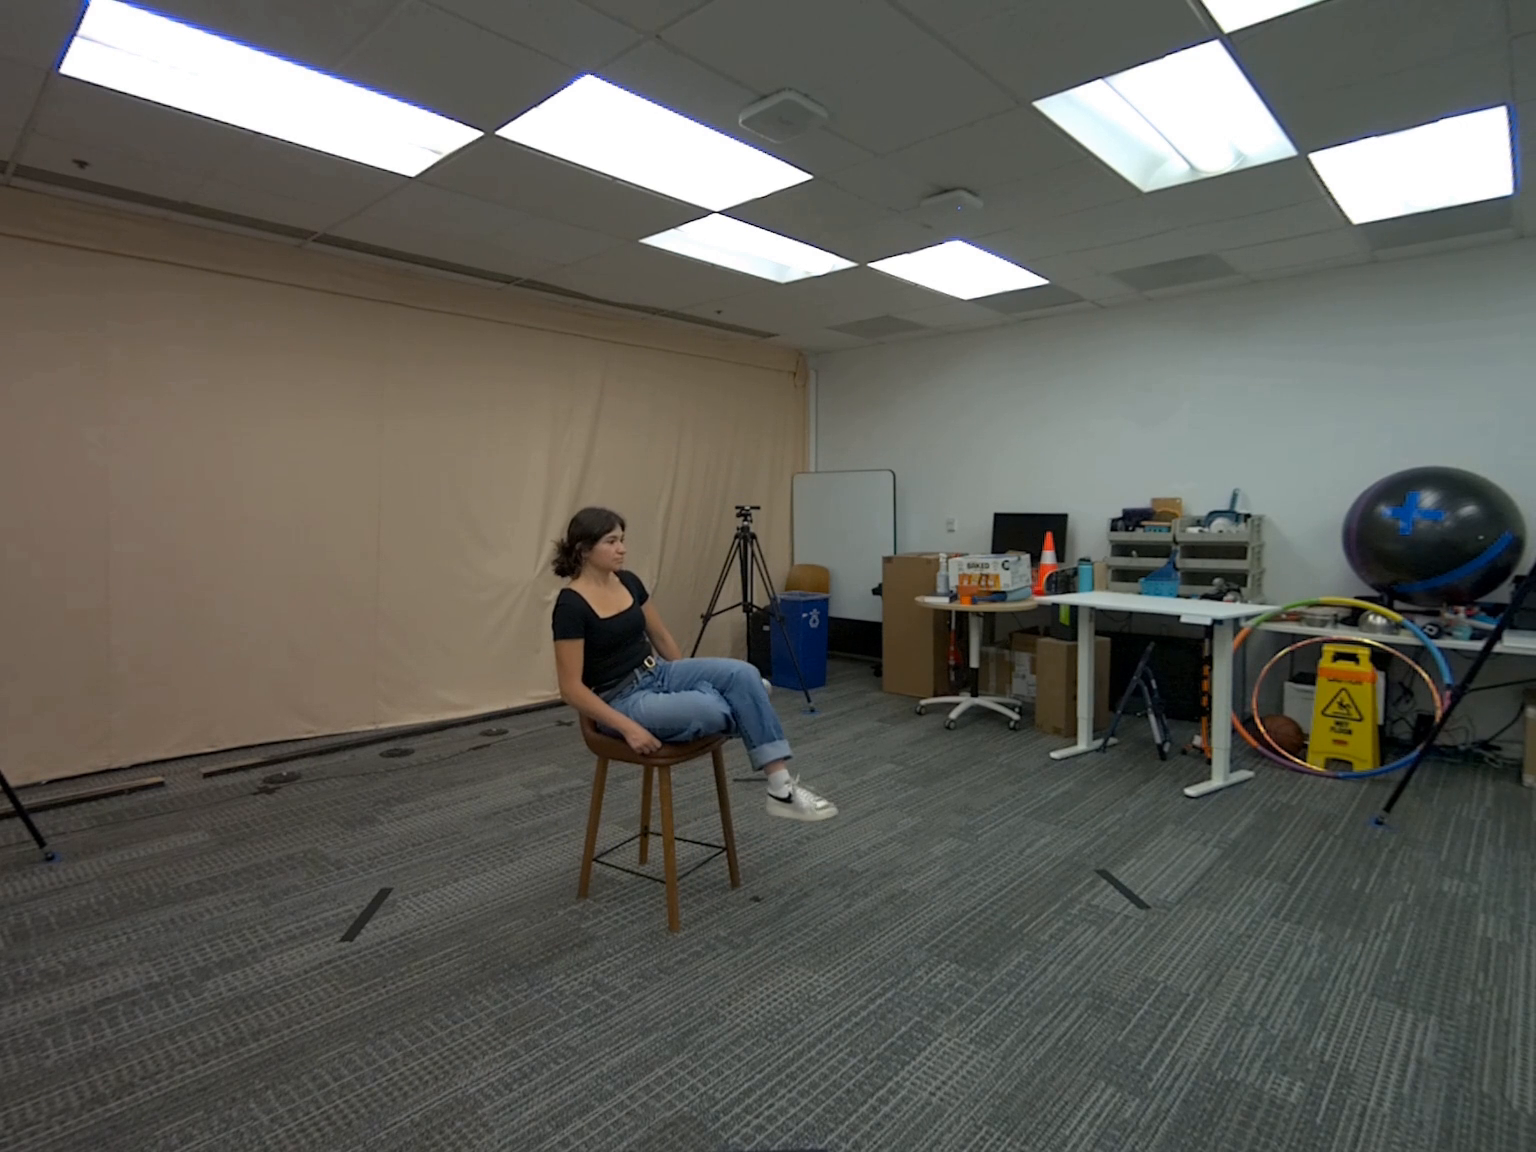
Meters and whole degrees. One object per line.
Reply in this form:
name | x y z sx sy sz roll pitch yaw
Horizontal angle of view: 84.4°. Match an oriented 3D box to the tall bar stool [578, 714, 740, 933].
tall bar stool | -0.405 0.710 3.025 0.481 0.888 0.444 -1 2 33
